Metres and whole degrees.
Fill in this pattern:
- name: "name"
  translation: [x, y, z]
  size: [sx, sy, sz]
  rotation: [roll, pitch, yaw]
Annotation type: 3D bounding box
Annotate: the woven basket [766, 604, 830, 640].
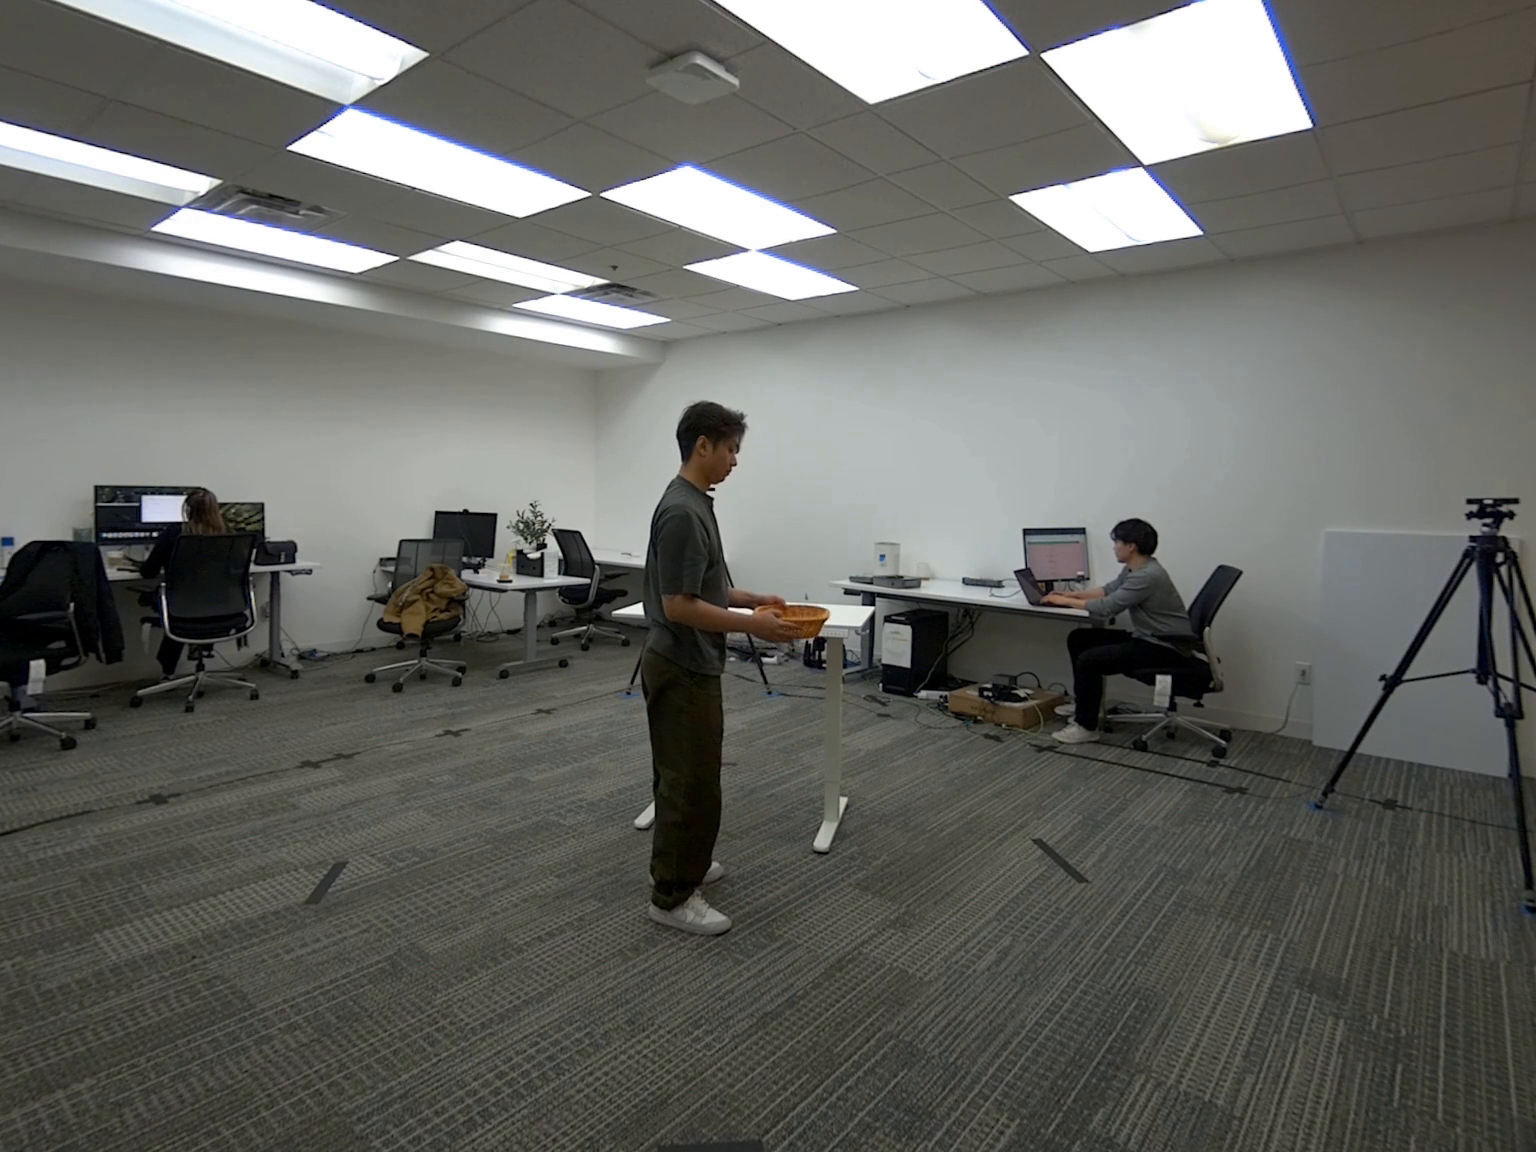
- name: "woven basket"
  translation: [0.050, 0.155, 2.750]
  size: [0.256, 0.073, 0.347]
  rotation: [2, 6, 12]
